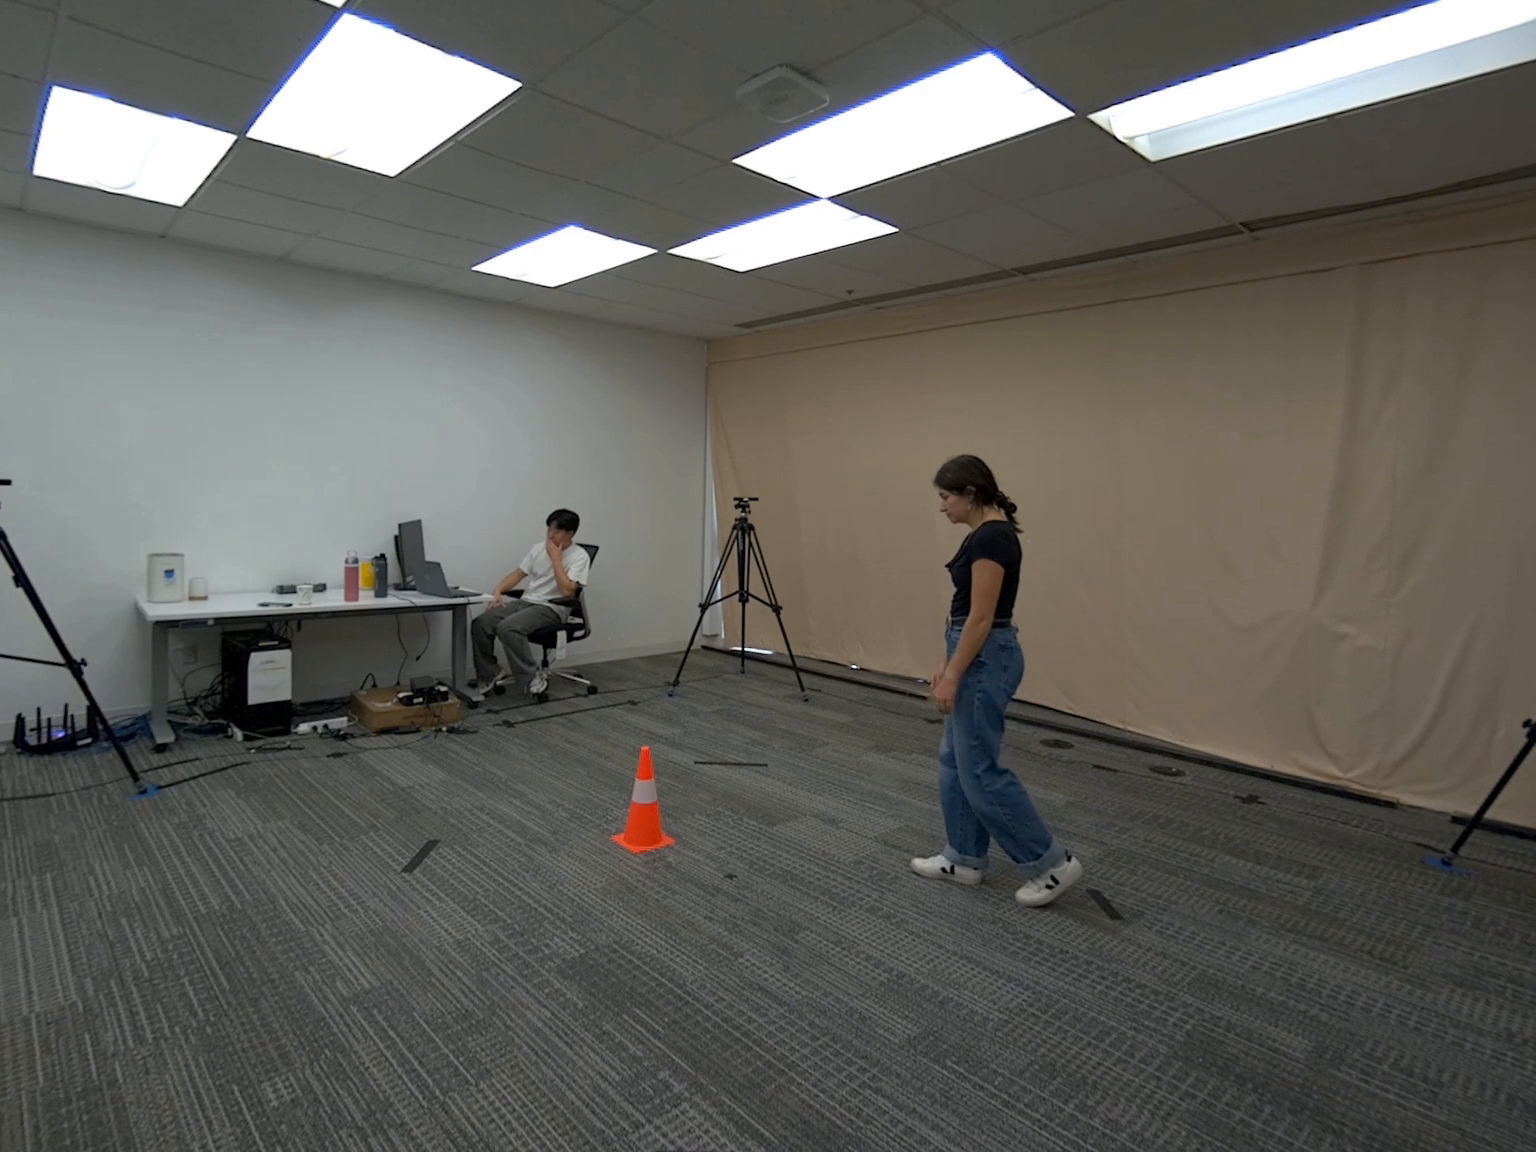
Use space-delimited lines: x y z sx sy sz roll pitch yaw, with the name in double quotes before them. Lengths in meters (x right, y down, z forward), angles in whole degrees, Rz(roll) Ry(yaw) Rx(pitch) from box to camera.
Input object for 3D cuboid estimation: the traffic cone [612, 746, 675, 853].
"traffic cone" -0.501 0.881 3.407 0.199 0.382 0.210 -1 5 -41
